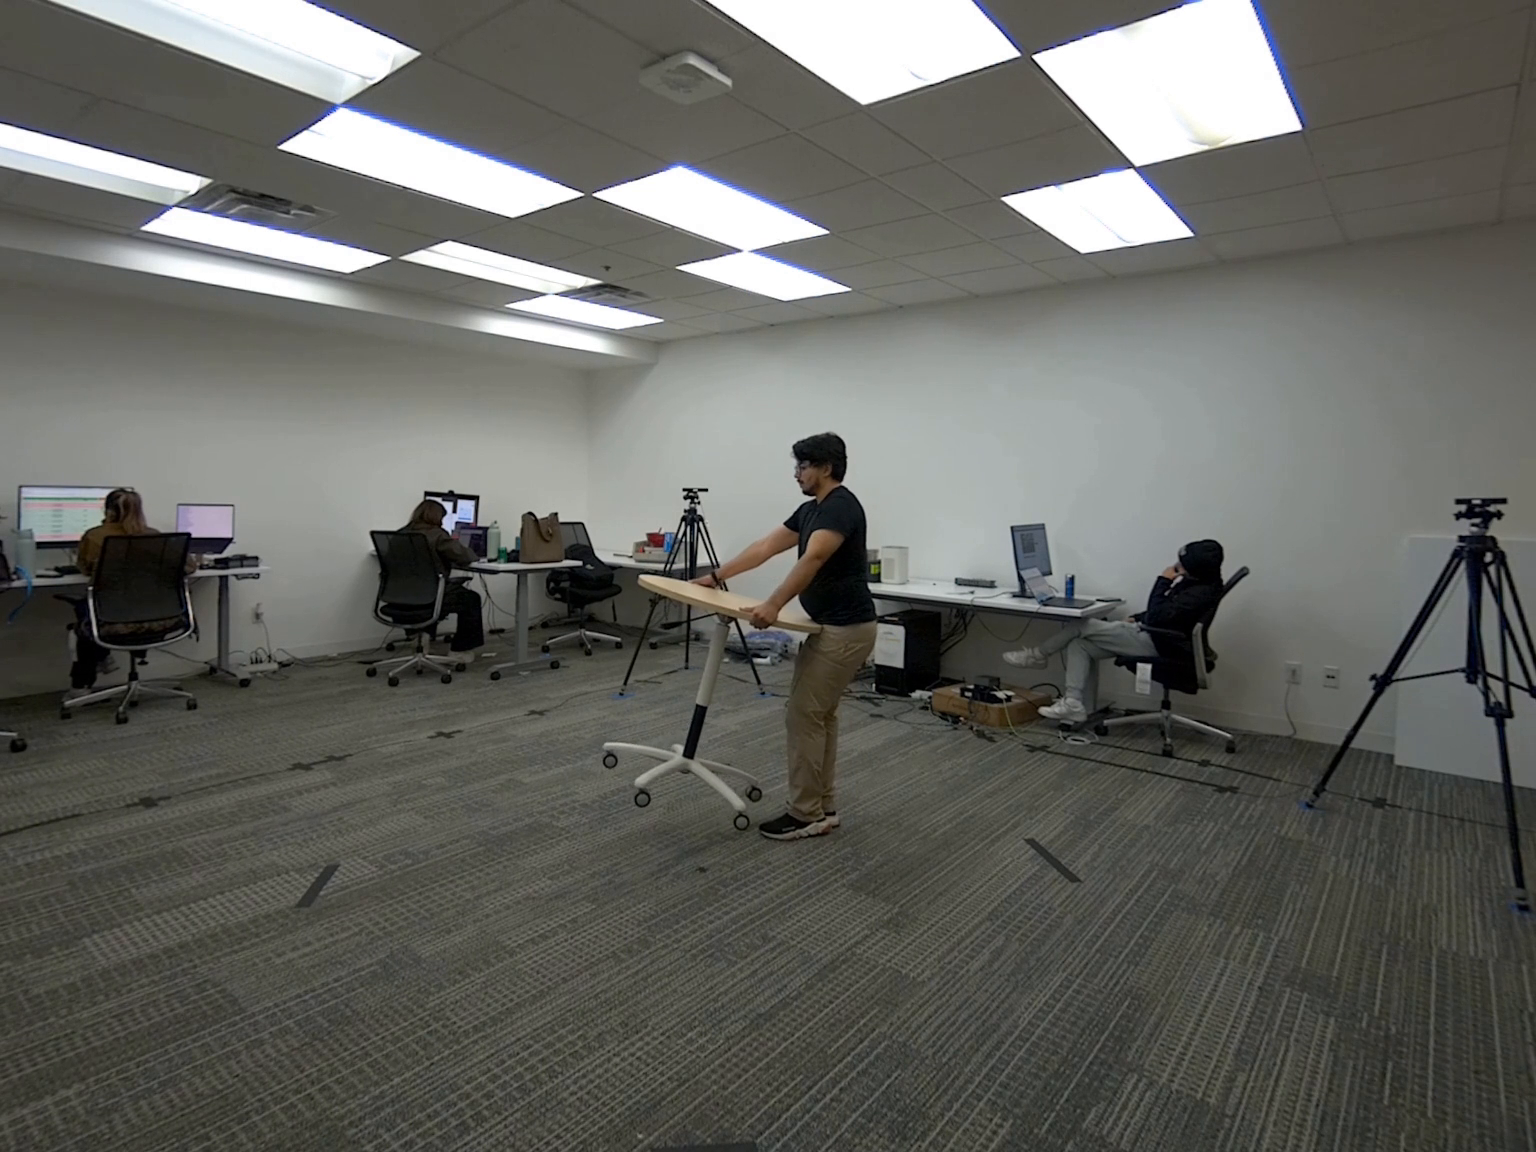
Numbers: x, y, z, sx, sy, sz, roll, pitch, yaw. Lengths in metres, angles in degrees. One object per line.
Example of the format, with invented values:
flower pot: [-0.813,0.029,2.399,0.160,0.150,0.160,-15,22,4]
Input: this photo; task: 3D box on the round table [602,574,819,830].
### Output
round table: [-0.264,0.486,3.437,0.784,0.786,0.787,14,1,-2]
